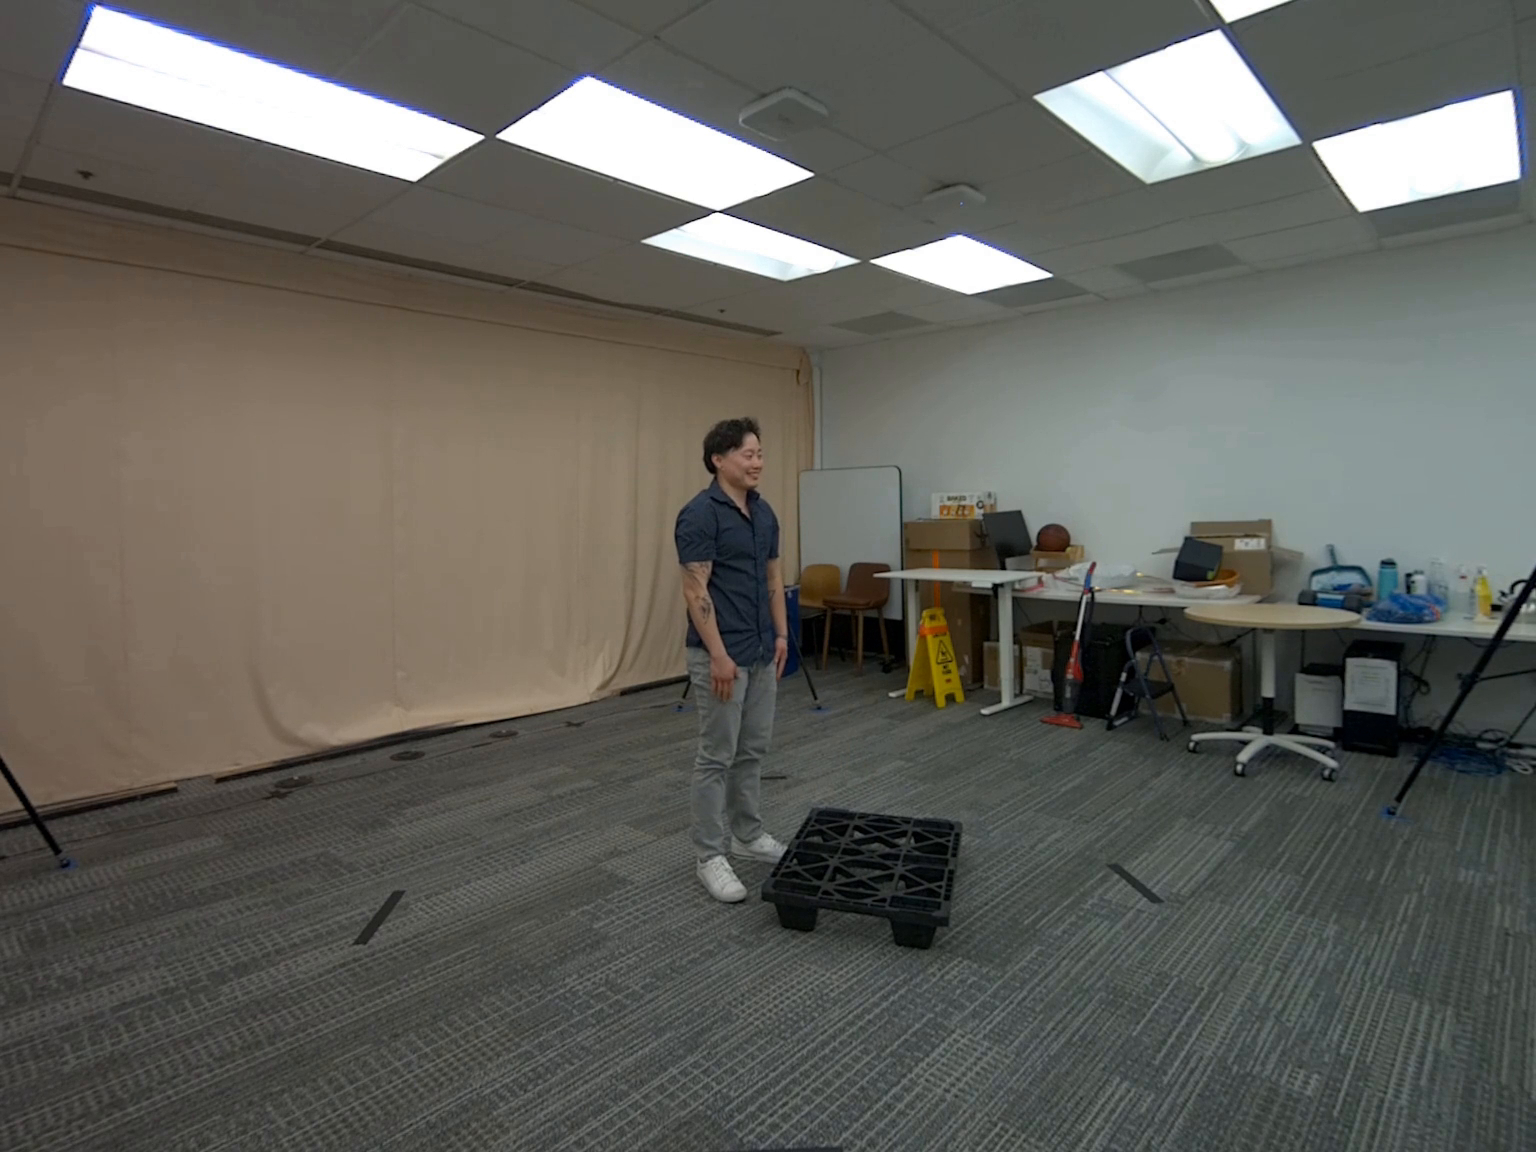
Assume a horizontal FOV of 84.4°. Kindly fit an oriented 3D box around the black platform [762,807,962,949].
[{"bbox_3d":[0.370,1.062,3.023,0.617,0.143,0.792,0,5,17],"label":"black platform"}]
